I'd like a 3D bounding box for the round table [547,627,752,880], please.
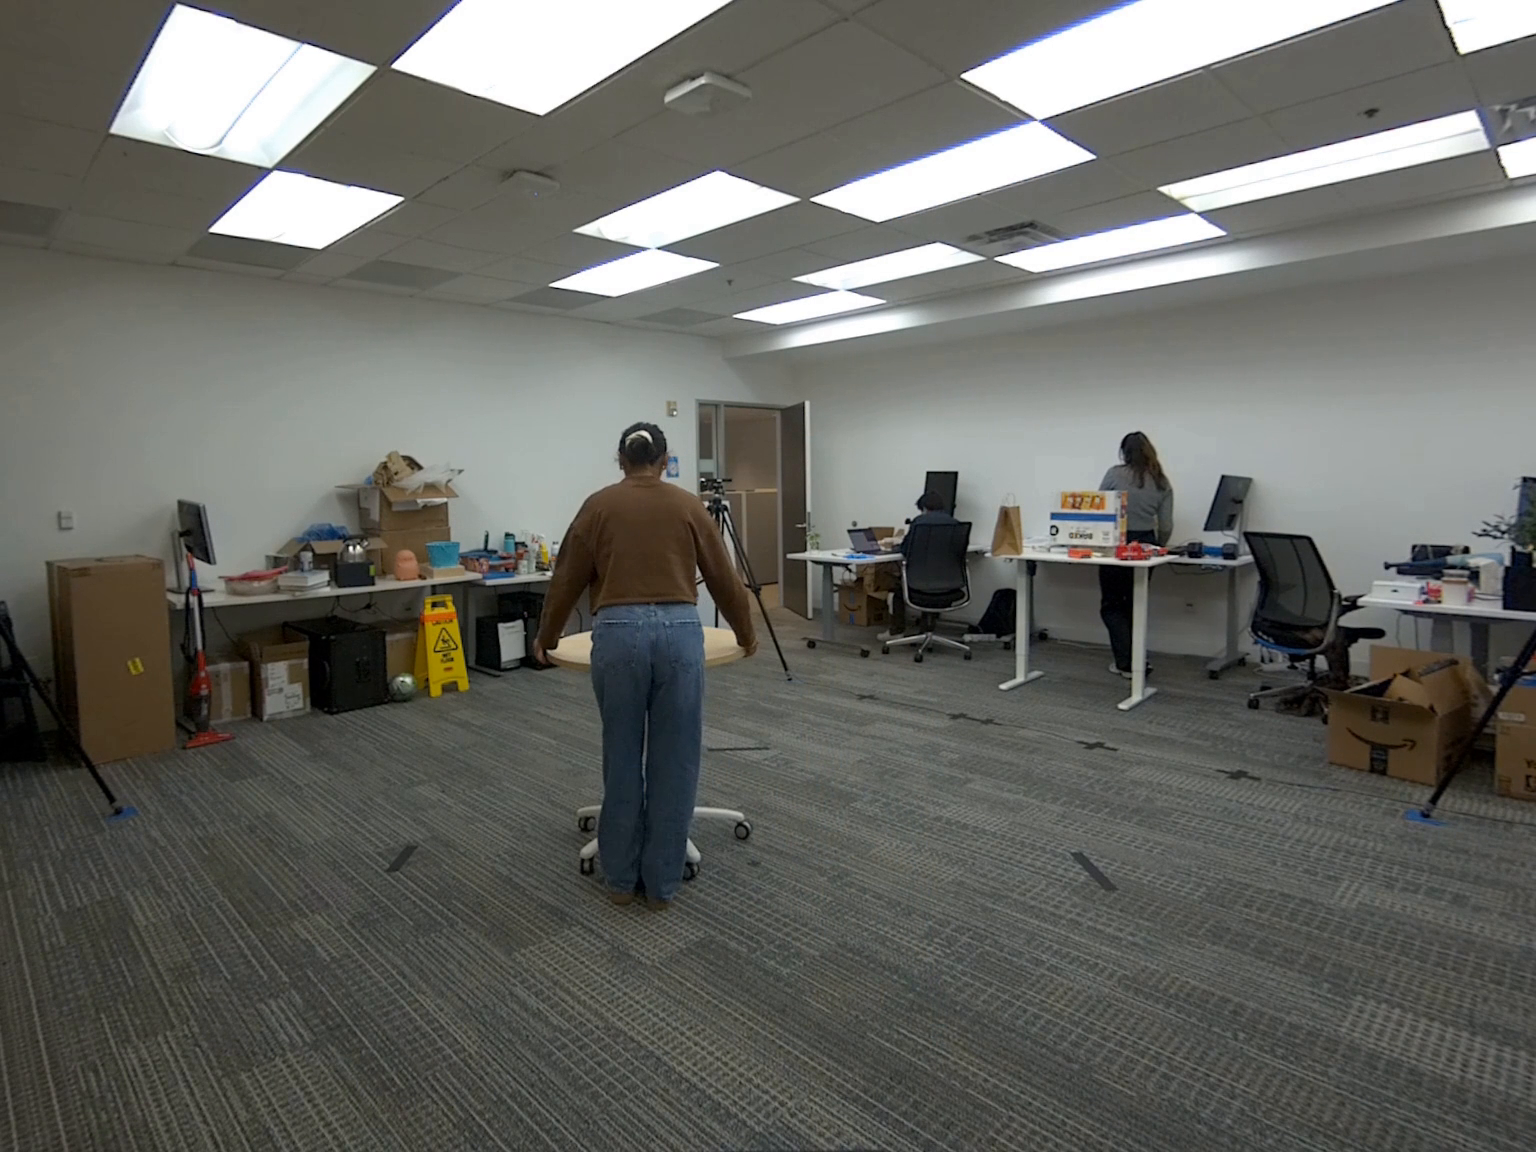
[{"bbox_3d":[-0.442,0.638,3.274,0.784,0.783,0.789,-2,5,-2],"label":"round table"}]
